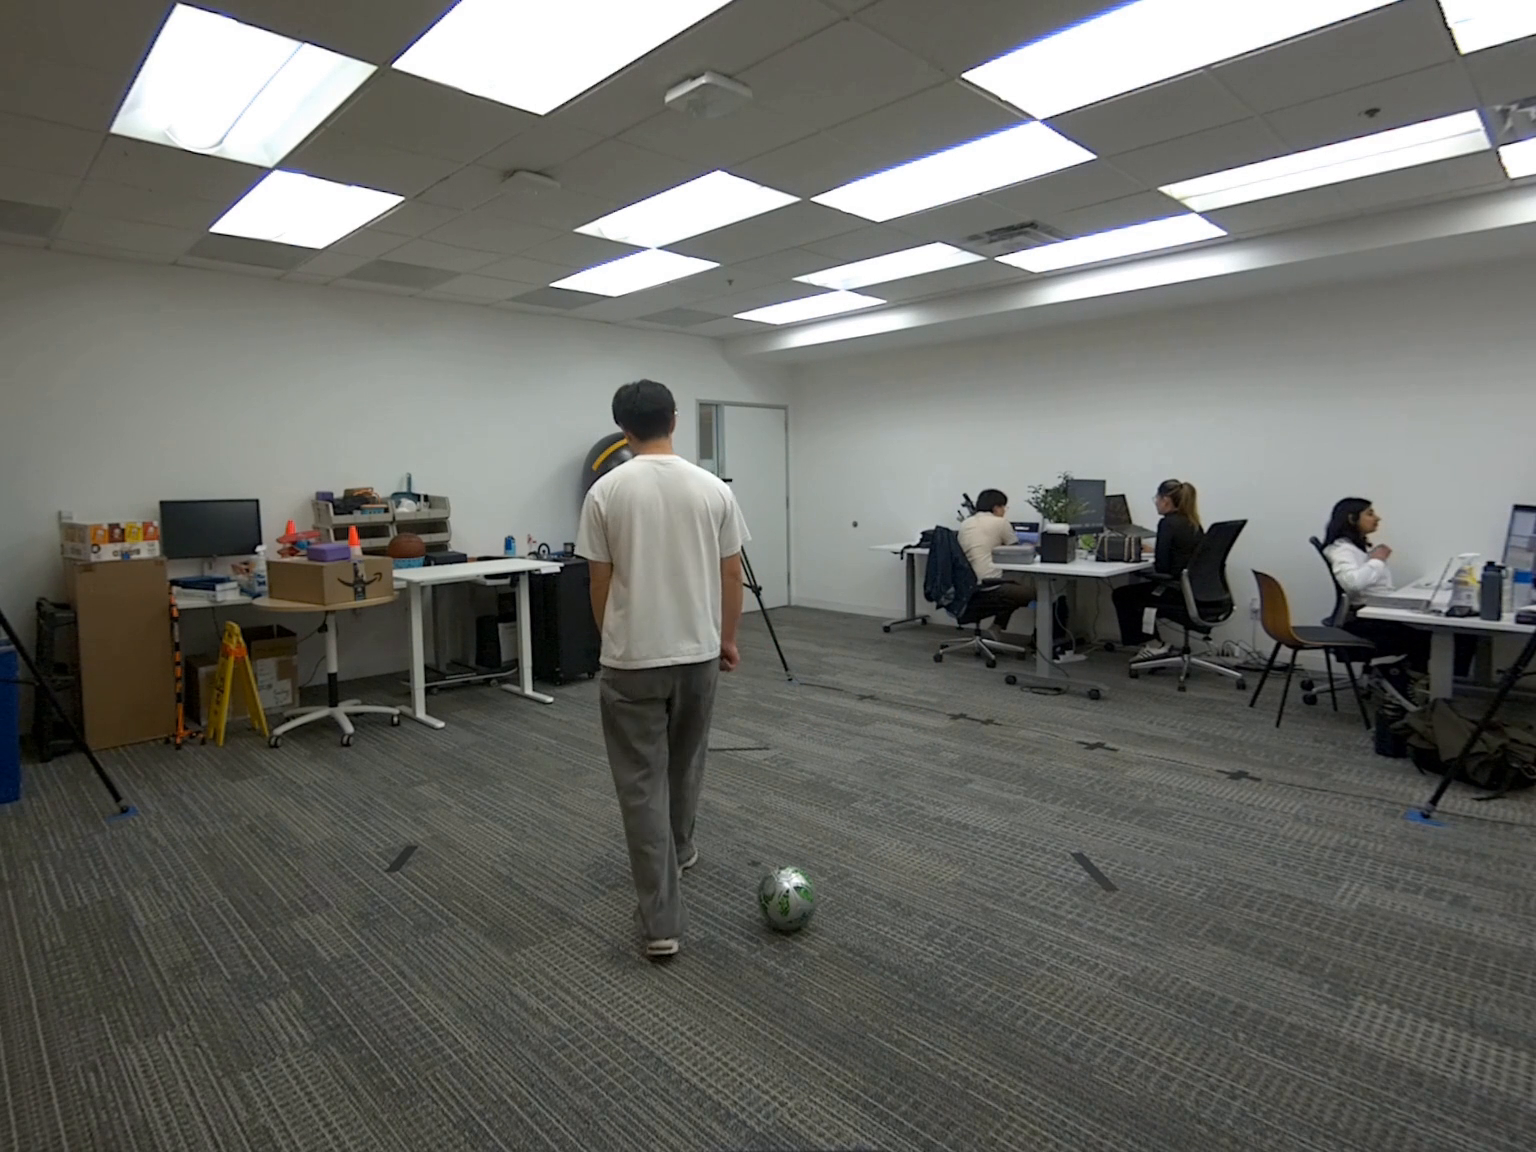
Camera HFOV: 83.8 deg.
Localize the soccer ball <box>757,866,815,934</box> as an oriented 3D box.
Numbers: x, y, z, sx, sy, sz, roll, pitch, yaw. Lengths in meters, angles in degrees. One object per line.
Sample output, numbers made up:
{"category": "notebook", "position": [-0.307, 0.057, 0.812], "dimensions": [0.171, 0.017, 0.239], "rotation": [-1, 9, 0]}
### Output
{"category": "soccer ball", "position": [0.065, 0.998, 2.662], "dimensions": [0.187, 0.187, 0.188], "rotation": [-1, 5, -2]}
